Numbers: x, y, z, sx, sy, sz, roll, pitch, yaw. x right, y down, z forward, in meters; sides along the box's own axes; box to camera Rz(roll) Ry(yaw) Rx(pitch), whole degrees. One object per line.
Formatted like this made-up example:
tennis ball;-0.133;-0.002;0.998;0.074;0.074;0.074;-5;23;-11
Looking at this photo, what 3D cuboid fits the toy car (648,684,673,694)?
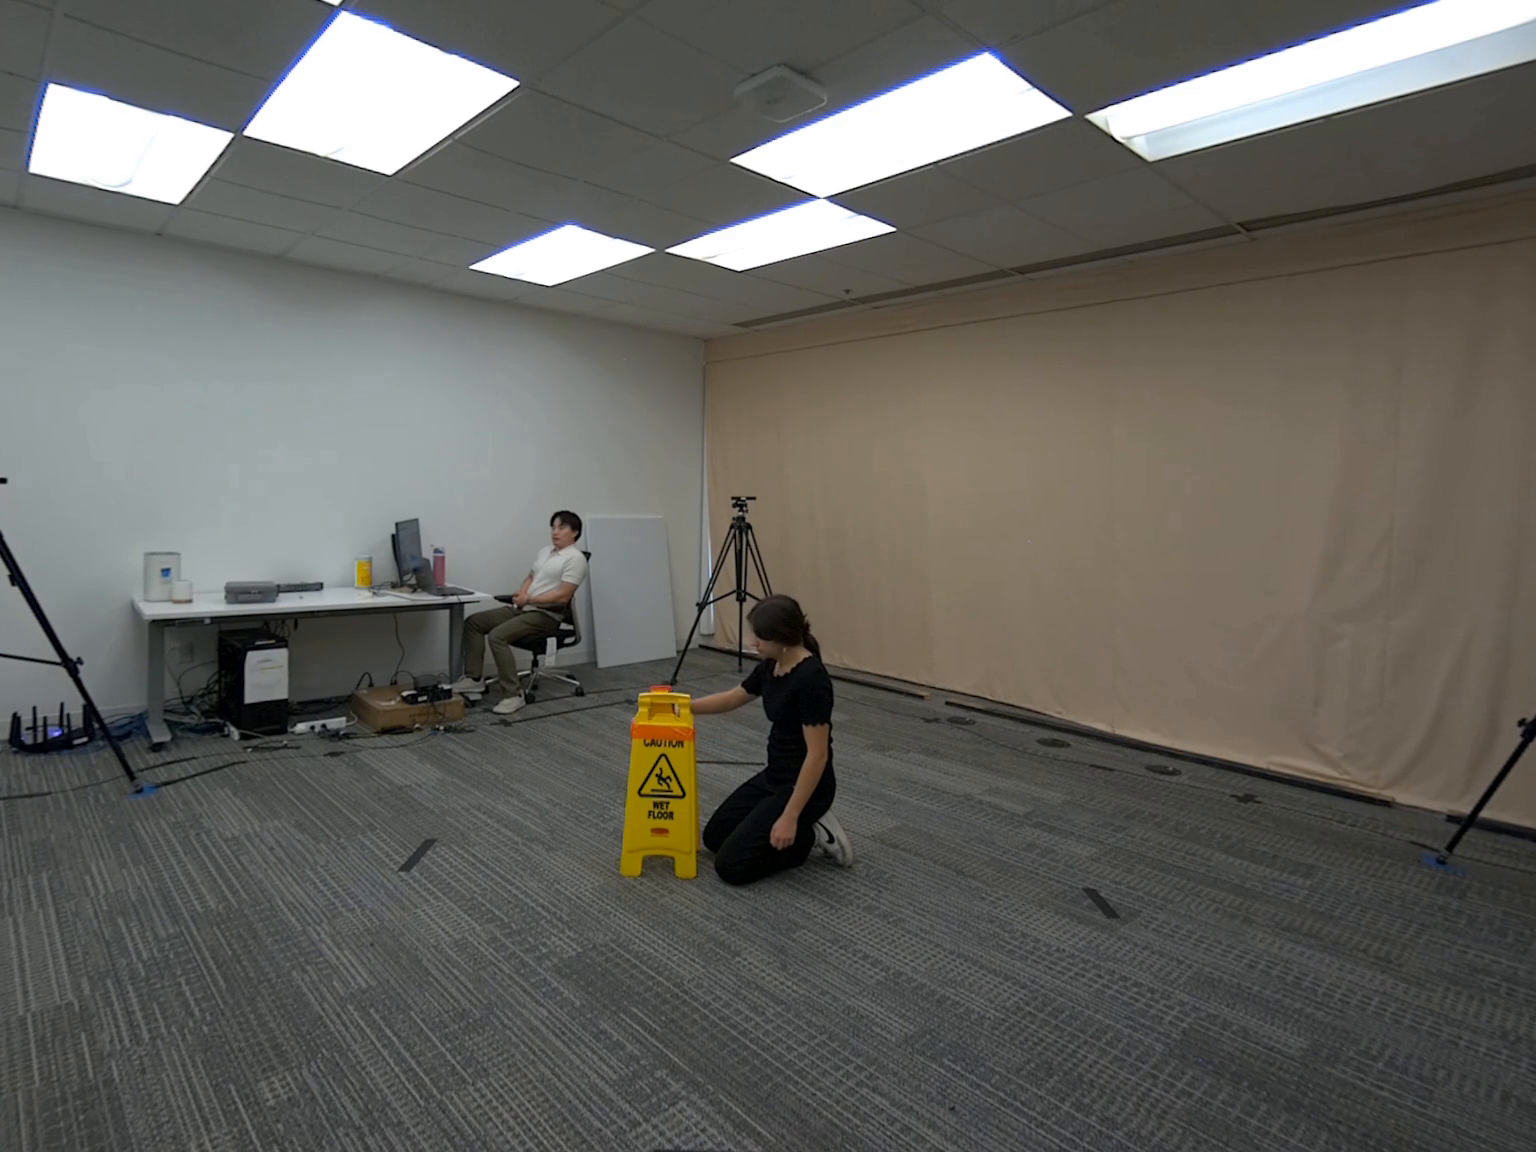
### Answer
toy car;-0.394;0.554;3.236;0.131;0.249;0.084;-2;29;4
